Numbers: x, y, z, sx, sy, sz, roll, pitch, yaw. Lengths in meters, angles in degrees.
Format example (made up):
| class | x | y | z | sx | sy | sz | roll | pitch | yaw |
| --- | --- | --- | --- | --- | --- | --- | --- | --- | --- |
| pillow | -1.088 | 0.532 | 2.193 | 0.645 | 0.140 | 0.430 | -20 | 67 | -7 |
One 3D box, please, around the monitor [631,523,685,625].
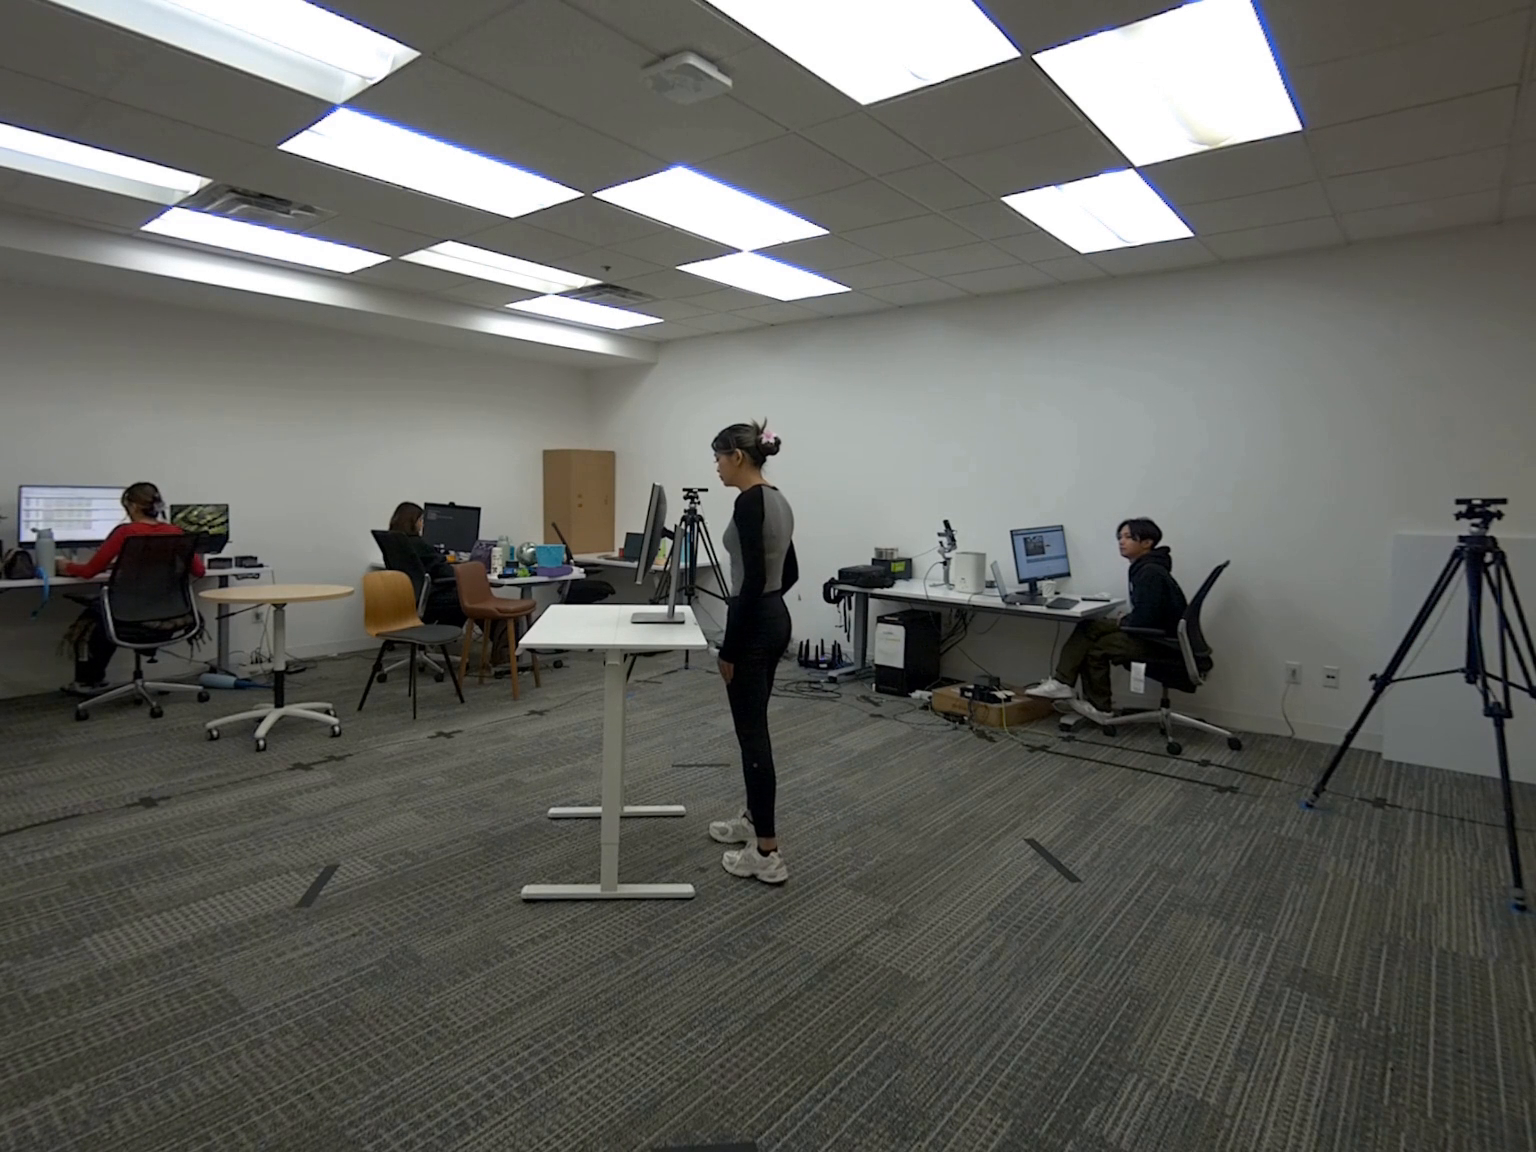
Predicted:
| class | x | y | z | sx | sy | sz | roll | pitch | yaw |
| --- | --- | --- | --- | --- | --- | --- | --- | --- | --- |
| monitor | -0.430 | -0.089 | 3.285 | 0.186 | 0.521 | 0.544 | -1 | 3 | -7 |
